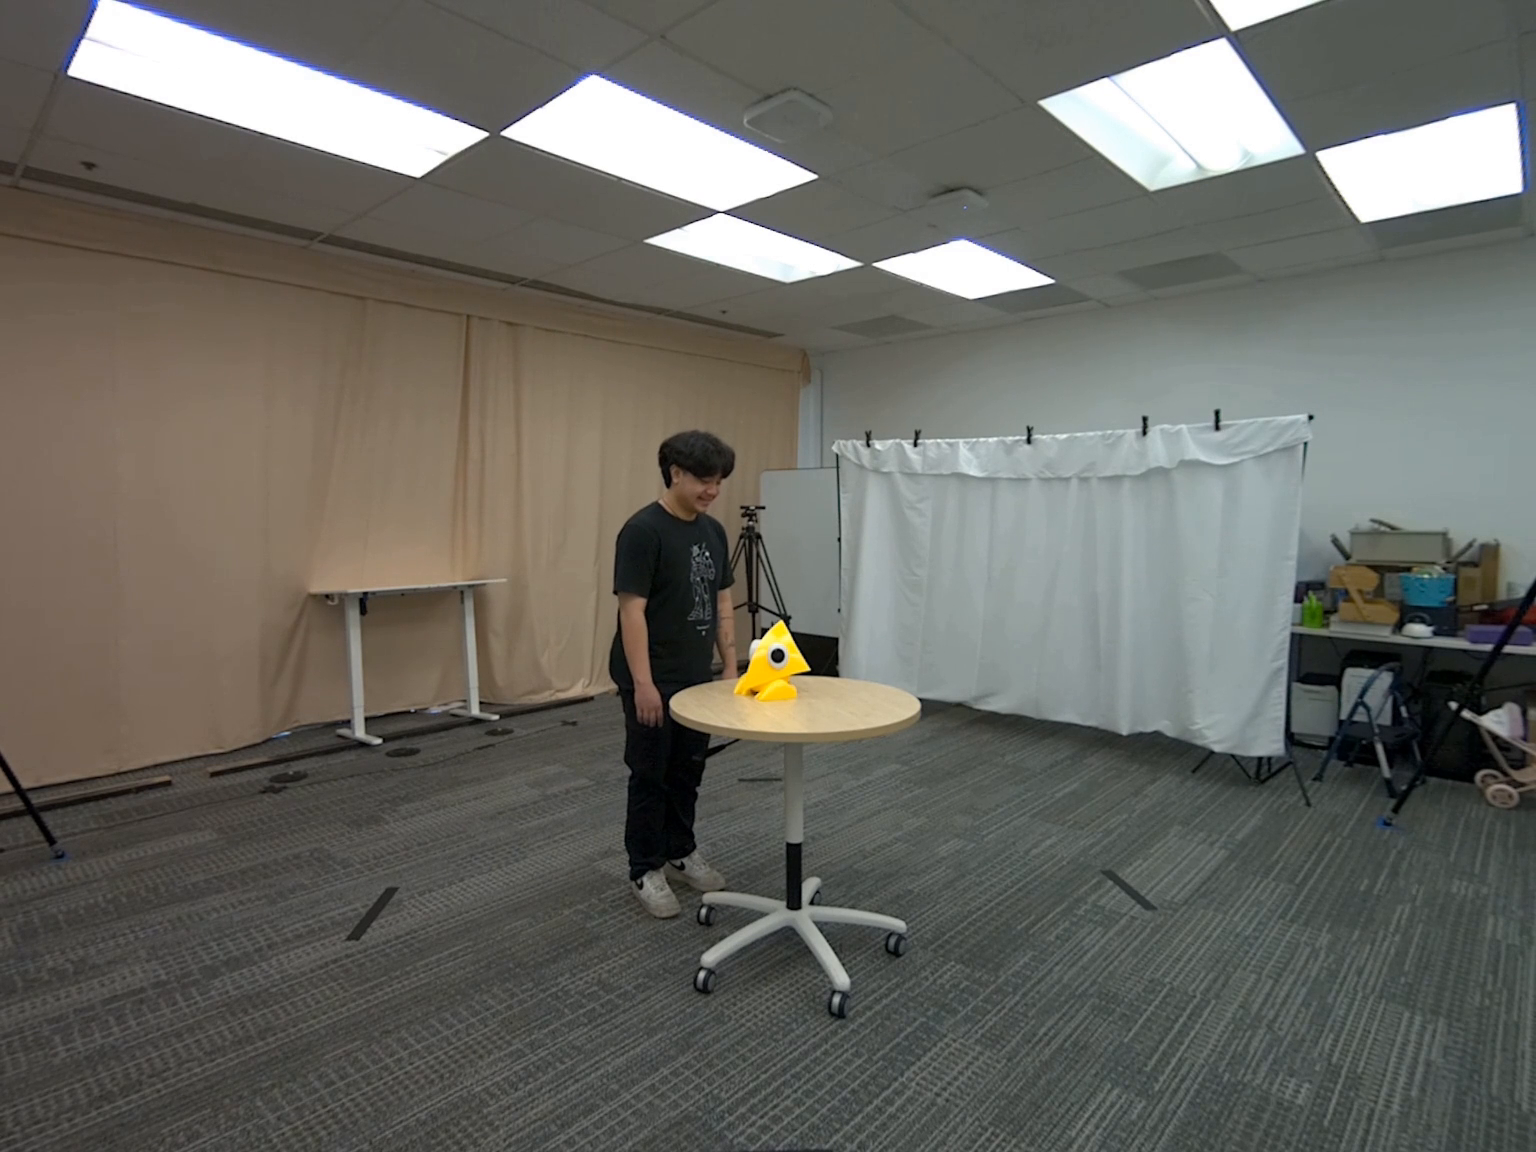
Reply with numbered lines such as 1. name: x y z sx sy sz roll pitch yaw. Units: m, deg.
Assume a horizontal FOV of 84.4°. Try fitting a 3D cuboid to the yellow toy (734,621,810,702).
1. yellow toy: 0.003 0.263 2.692 0.187 0.230 0.211 -4 5 -38
